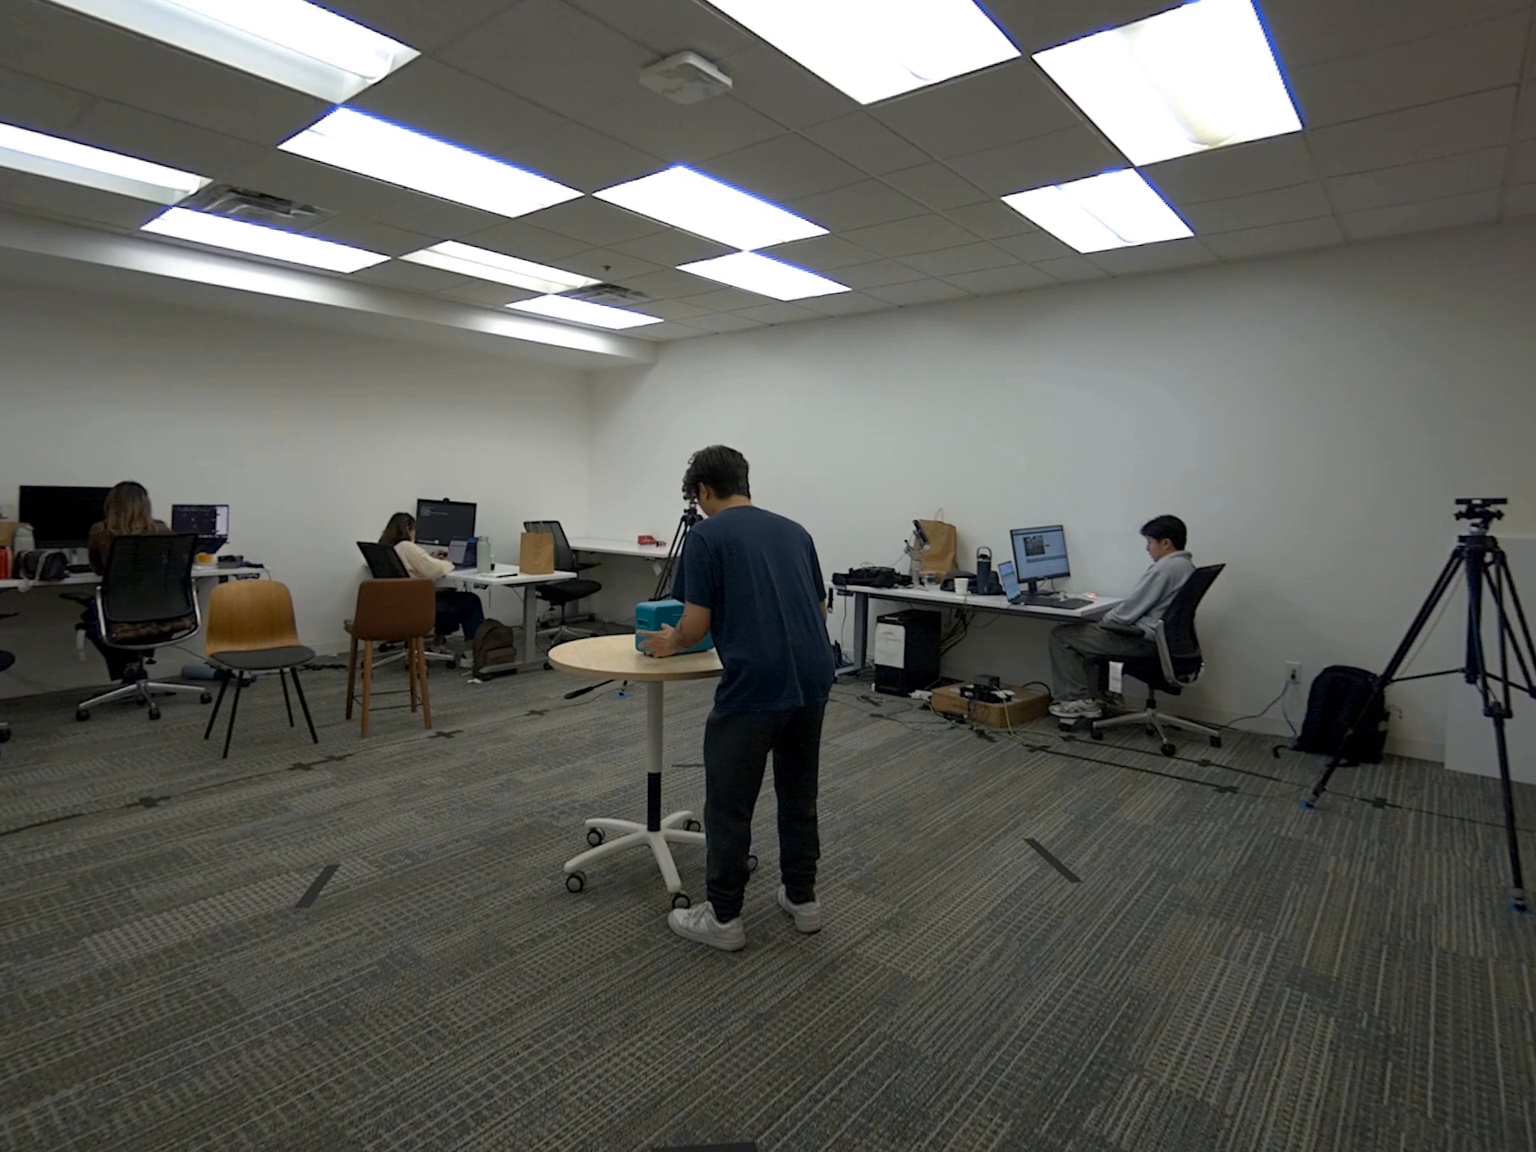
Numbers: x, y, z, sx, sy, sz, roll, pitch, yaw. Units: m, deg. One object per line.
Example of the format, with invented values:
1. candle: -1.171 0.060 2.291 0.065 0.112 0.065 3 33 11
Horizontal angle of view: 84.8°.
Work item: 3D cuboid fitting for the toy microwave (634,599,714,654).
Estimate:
1. toy microwave: -0.337 0.179 3.063 0.277 0.184 0.157 -3 4 -40
